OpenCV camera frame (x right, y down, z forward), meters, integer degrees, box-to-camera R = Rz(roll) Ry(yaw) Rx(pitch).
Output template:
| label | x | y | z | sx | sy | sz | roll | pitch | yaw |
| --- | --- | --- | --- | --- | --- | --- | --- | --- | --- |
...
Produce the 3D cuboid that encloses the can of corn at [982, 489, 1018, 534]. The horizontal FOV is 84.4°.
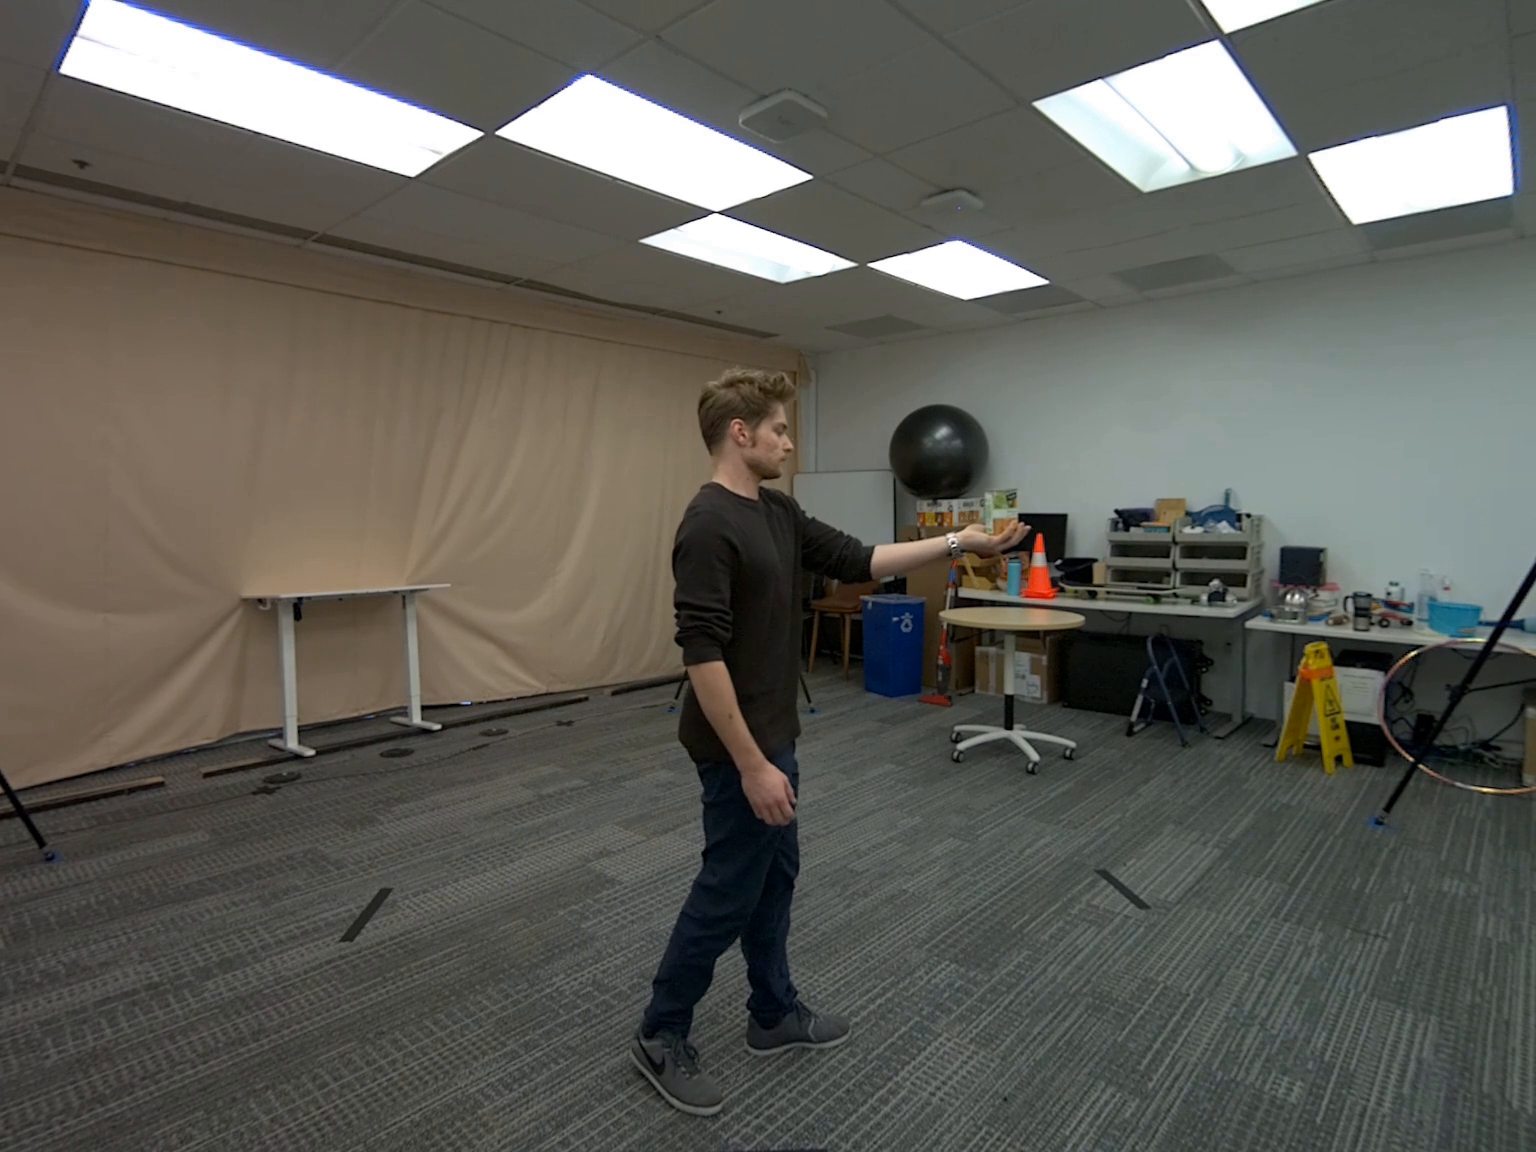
| label | x | y | z | sx | sy | sz | roll | pitch | yaw |
| --- | --- | --- | --- | --- | --- | --- | --- | --- | --- |
| can of corn | 0.552 | -0.147 | 2.009 | 0.074 | 0.111 | 0.074 | -2 | 4 | -2 |
